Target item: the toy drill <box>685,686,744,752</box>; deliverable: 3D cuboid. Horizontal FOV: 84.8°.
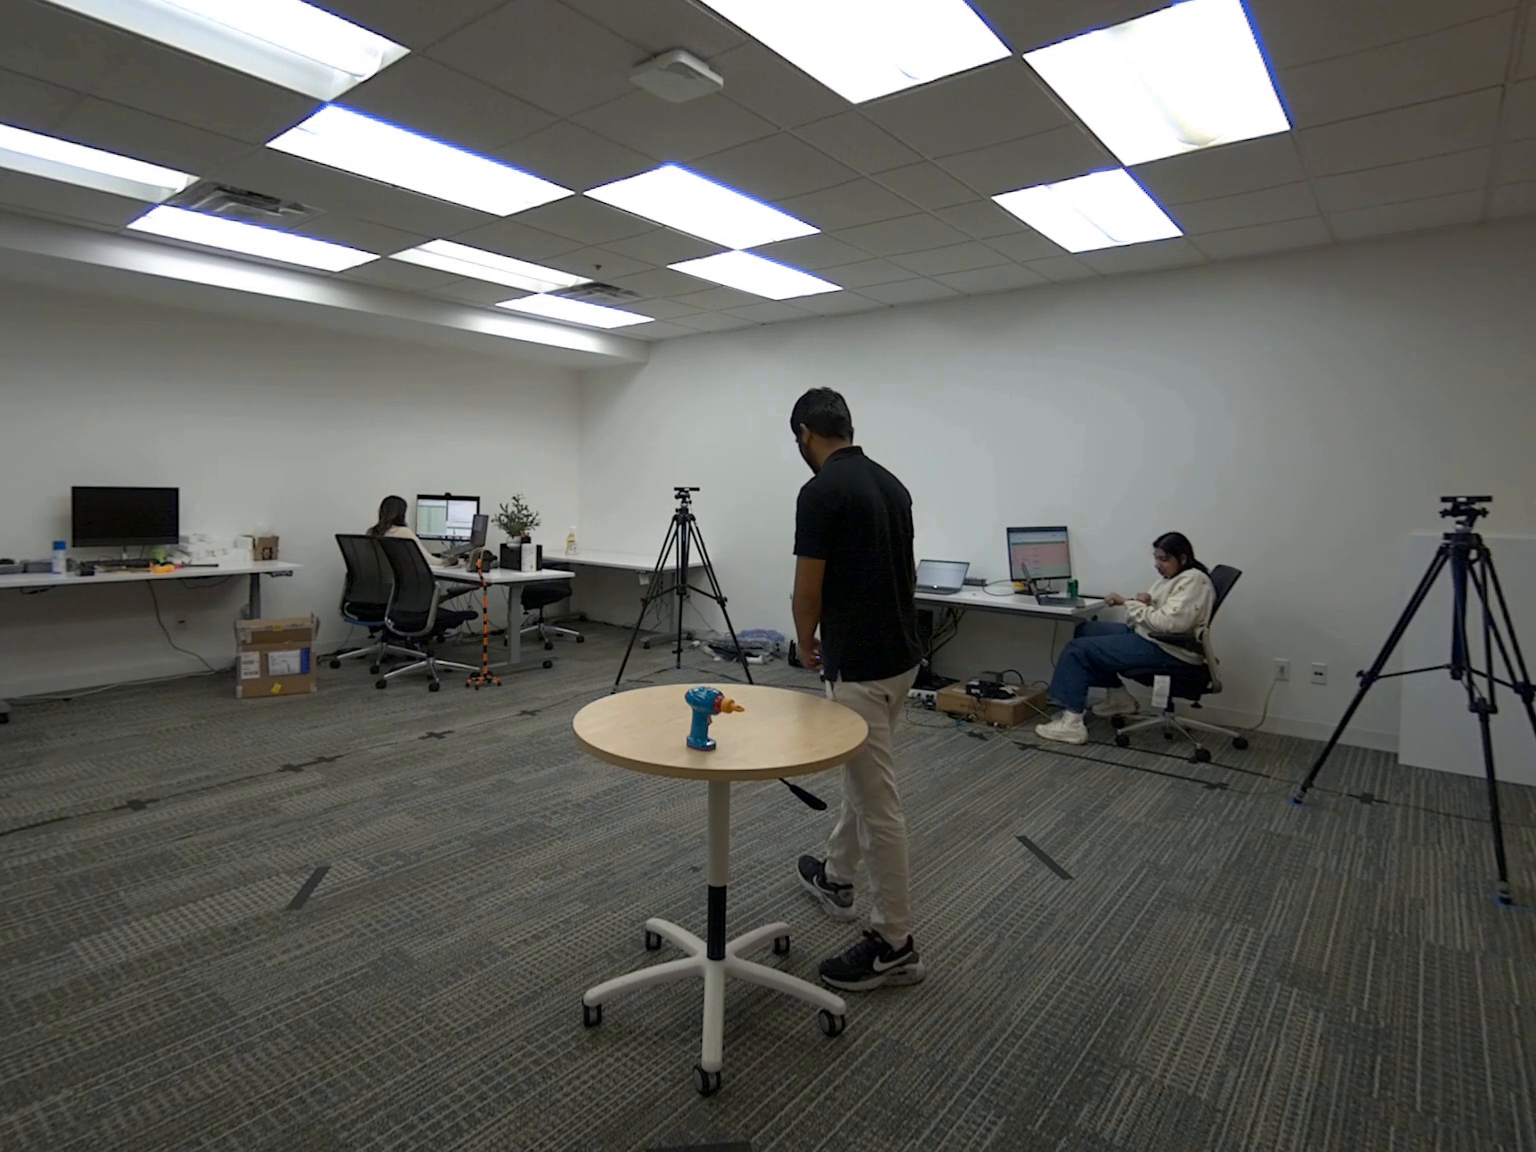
[{"bbox_3d":[-0.123,0.335,1.975,0.175,0.146,0.059,6,2,29],"label":"toy drill"}]
